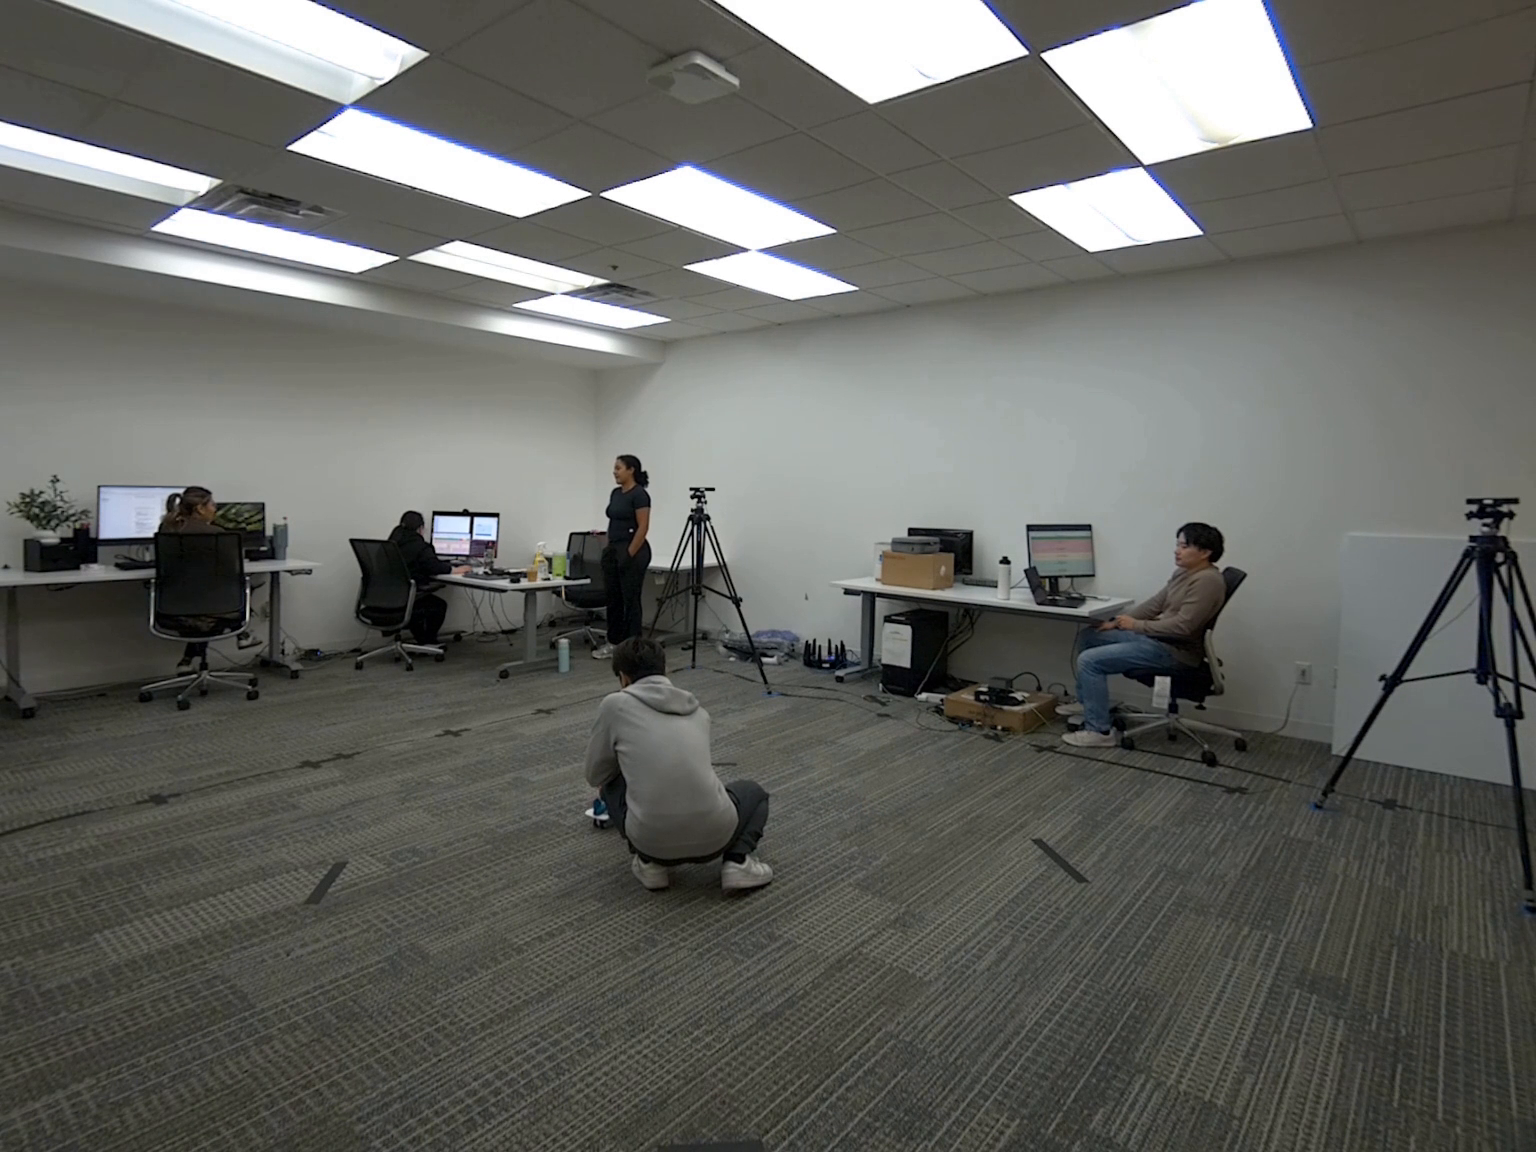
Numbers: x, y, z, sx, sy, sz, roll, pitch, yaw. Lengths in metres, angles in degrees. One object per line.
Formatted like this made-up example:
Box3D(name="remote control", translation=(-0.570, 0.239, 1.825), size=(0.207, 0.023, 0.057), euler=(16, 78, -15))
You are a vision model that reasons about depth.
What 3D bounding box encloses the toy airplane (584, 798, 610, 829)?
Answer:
Box3D(name="toy airplane", translation=(-0.623, 0.940, 3.530), size=(0.252, 0.156, 0.258), euler=(1, 3, 3))
